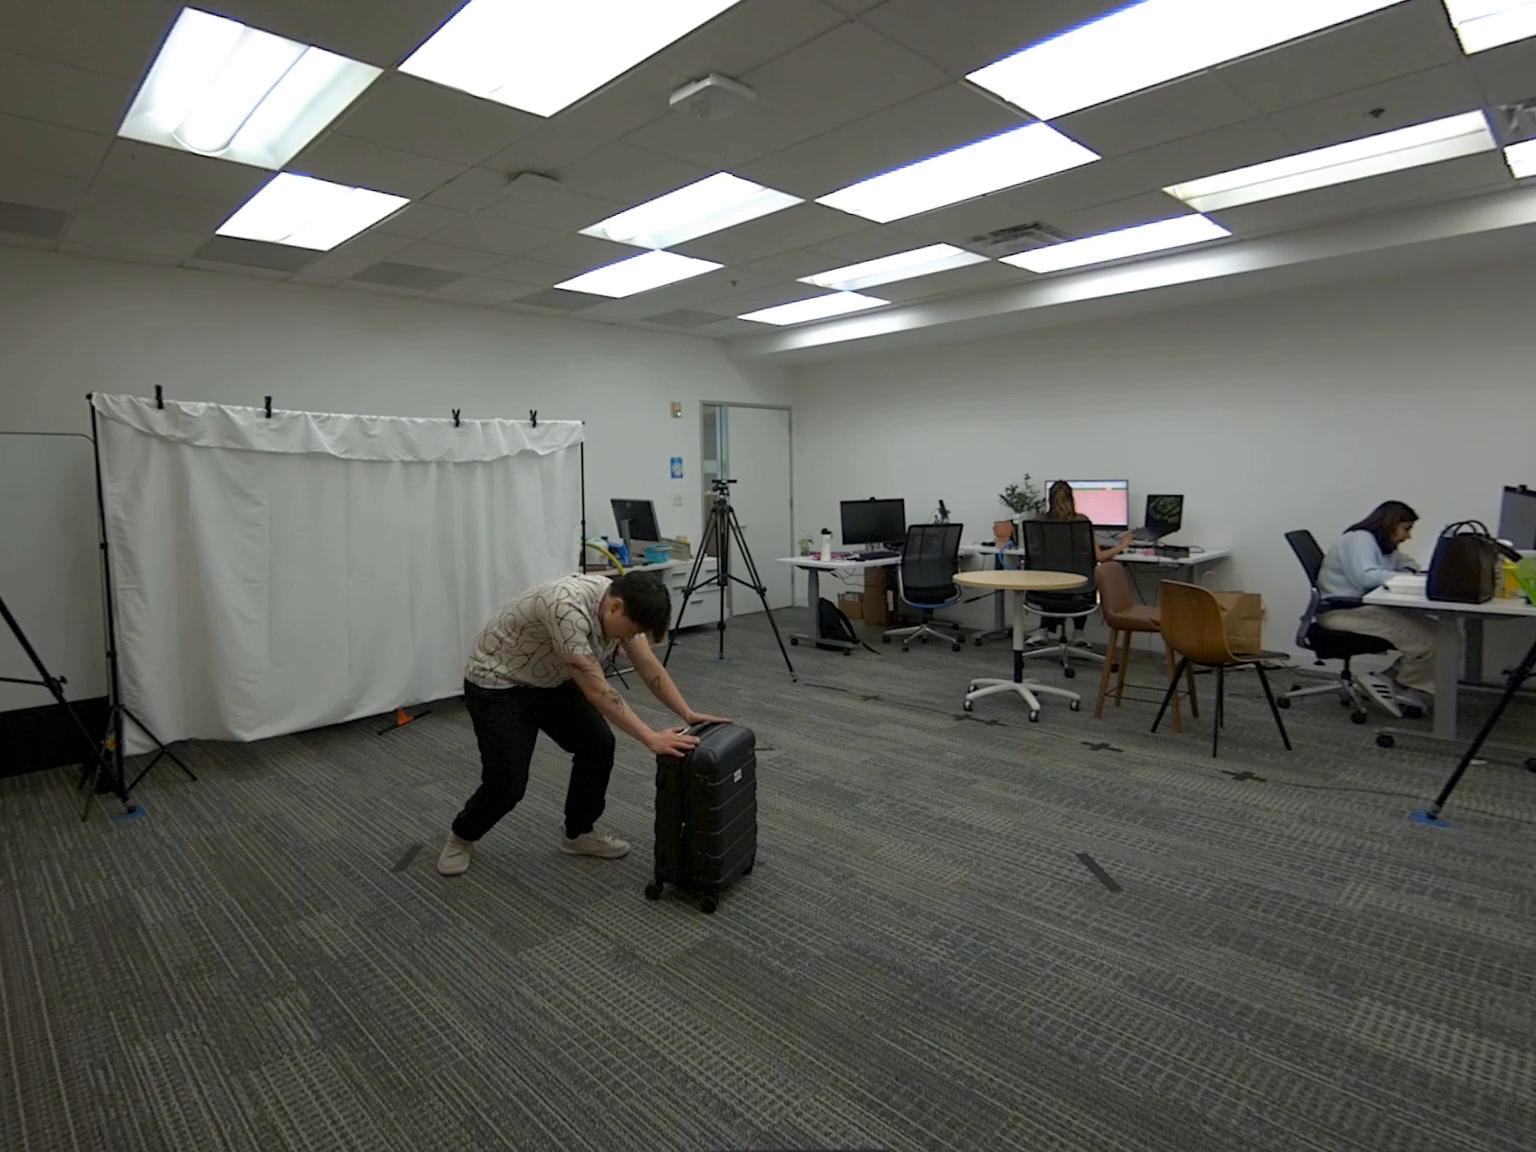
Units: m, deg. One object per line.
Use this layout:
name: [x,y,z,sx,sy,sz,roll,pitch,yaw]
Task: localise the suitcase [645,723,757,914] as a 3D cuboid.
suitcase: [-0.210,0.794,2.934,0.254,0.547,0.368,3,6,25]
